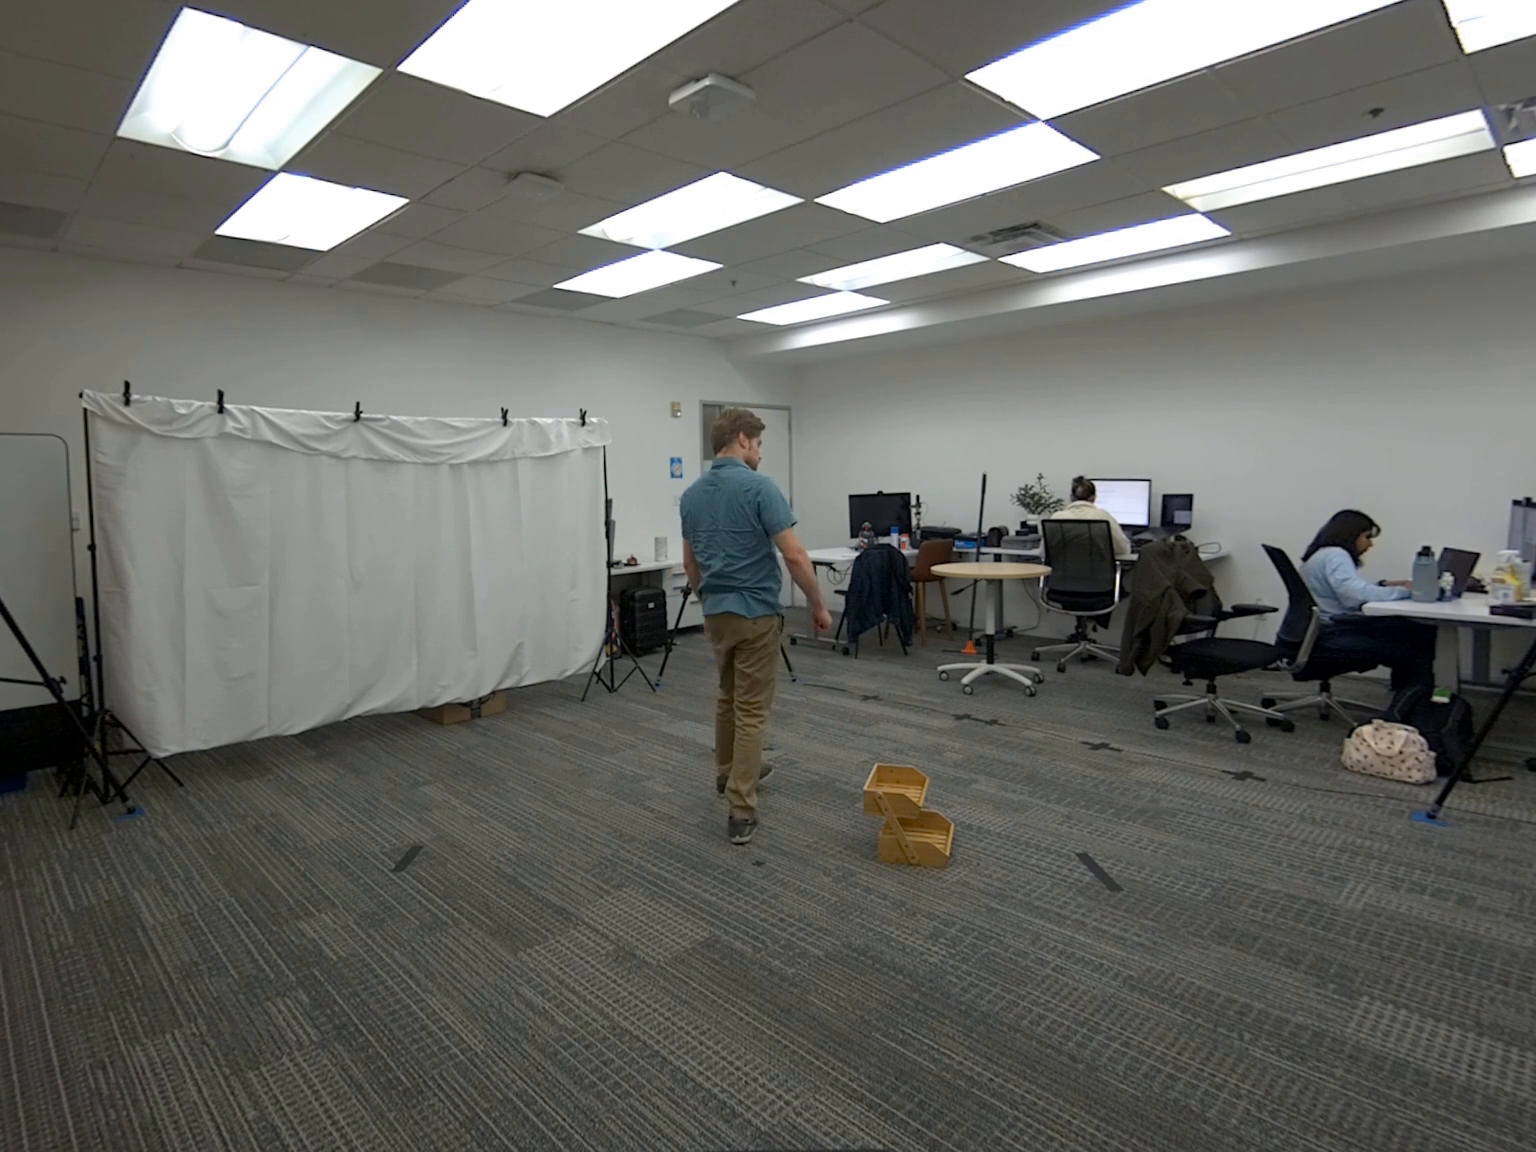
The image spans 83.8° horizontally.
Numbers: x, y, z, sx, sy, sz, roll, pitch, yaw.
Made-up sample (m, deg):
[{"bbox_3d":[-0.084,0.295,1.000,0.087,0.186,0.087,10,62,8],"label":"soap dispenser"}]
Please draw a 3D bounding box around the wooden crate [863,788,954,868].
[{"bbox_3d":[0.546,0.895,3.219,0.307,0.272,0.320,0,5,17],"label":"wooden crate"}]
